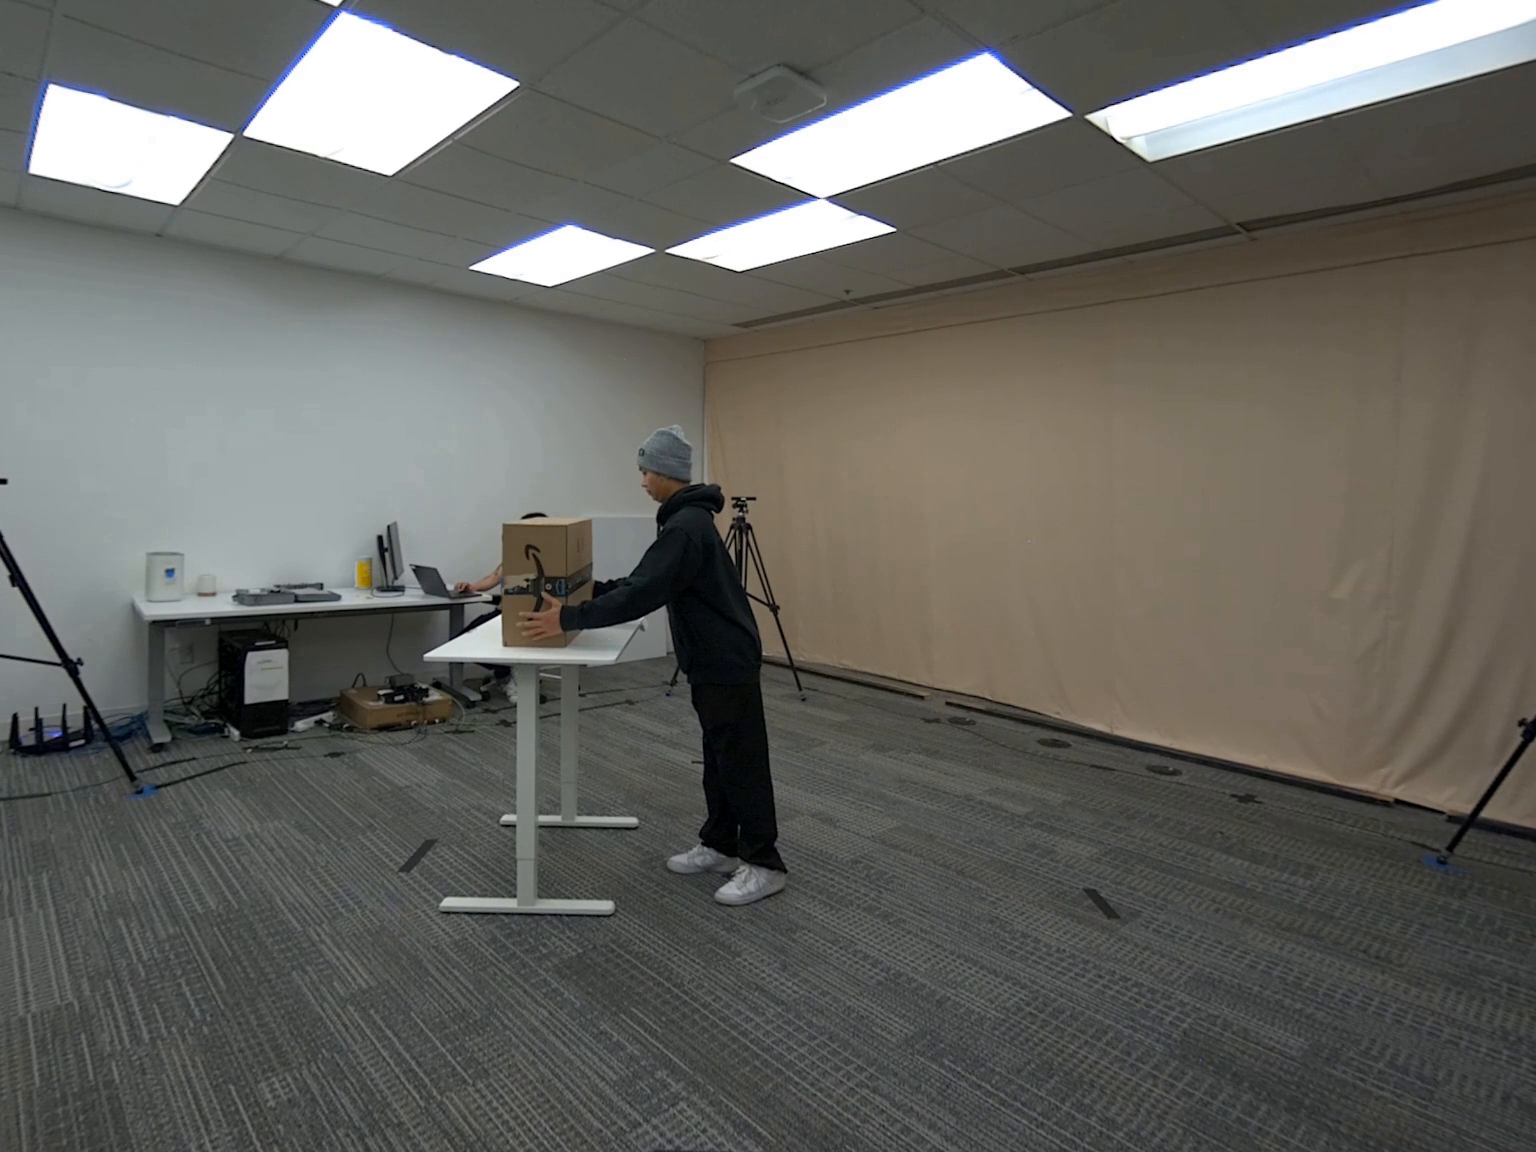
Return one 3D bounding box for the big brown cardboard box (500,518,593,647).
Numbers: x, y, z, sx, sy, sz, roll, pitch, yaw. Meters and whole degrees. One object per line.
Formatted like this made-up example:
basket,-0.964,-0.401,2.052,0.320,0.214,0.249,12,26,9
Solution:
big brown cardboard box,-0.797,0.005,3.080,0.233,0.416,0.592,1,4,-3
